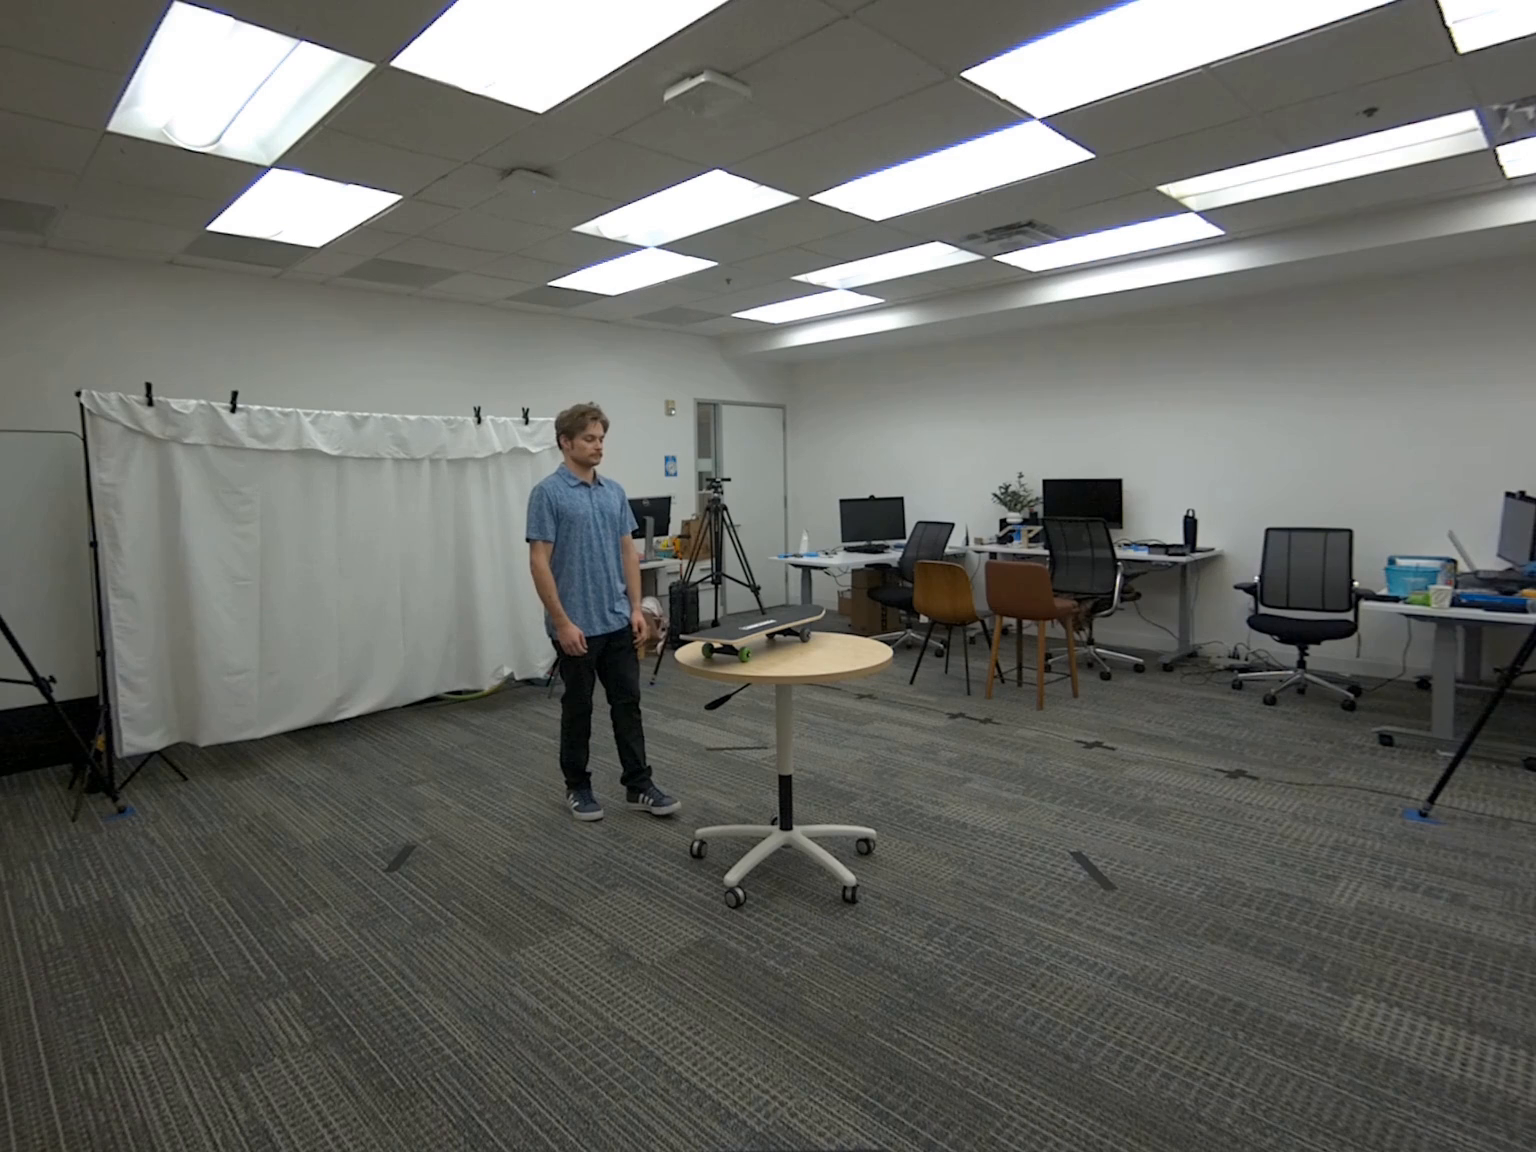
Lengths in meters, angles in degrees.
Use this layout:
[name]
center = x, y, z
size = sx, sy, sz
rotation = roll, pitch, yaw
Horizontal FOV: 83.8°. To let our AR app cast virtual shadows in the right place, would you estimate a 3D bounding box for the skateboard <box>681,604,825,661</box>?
[skateboard]
center = -0.030, 0.216, 3.058
size = 0.199, 0.110, 0.767
rotation = 3, 7, 34
